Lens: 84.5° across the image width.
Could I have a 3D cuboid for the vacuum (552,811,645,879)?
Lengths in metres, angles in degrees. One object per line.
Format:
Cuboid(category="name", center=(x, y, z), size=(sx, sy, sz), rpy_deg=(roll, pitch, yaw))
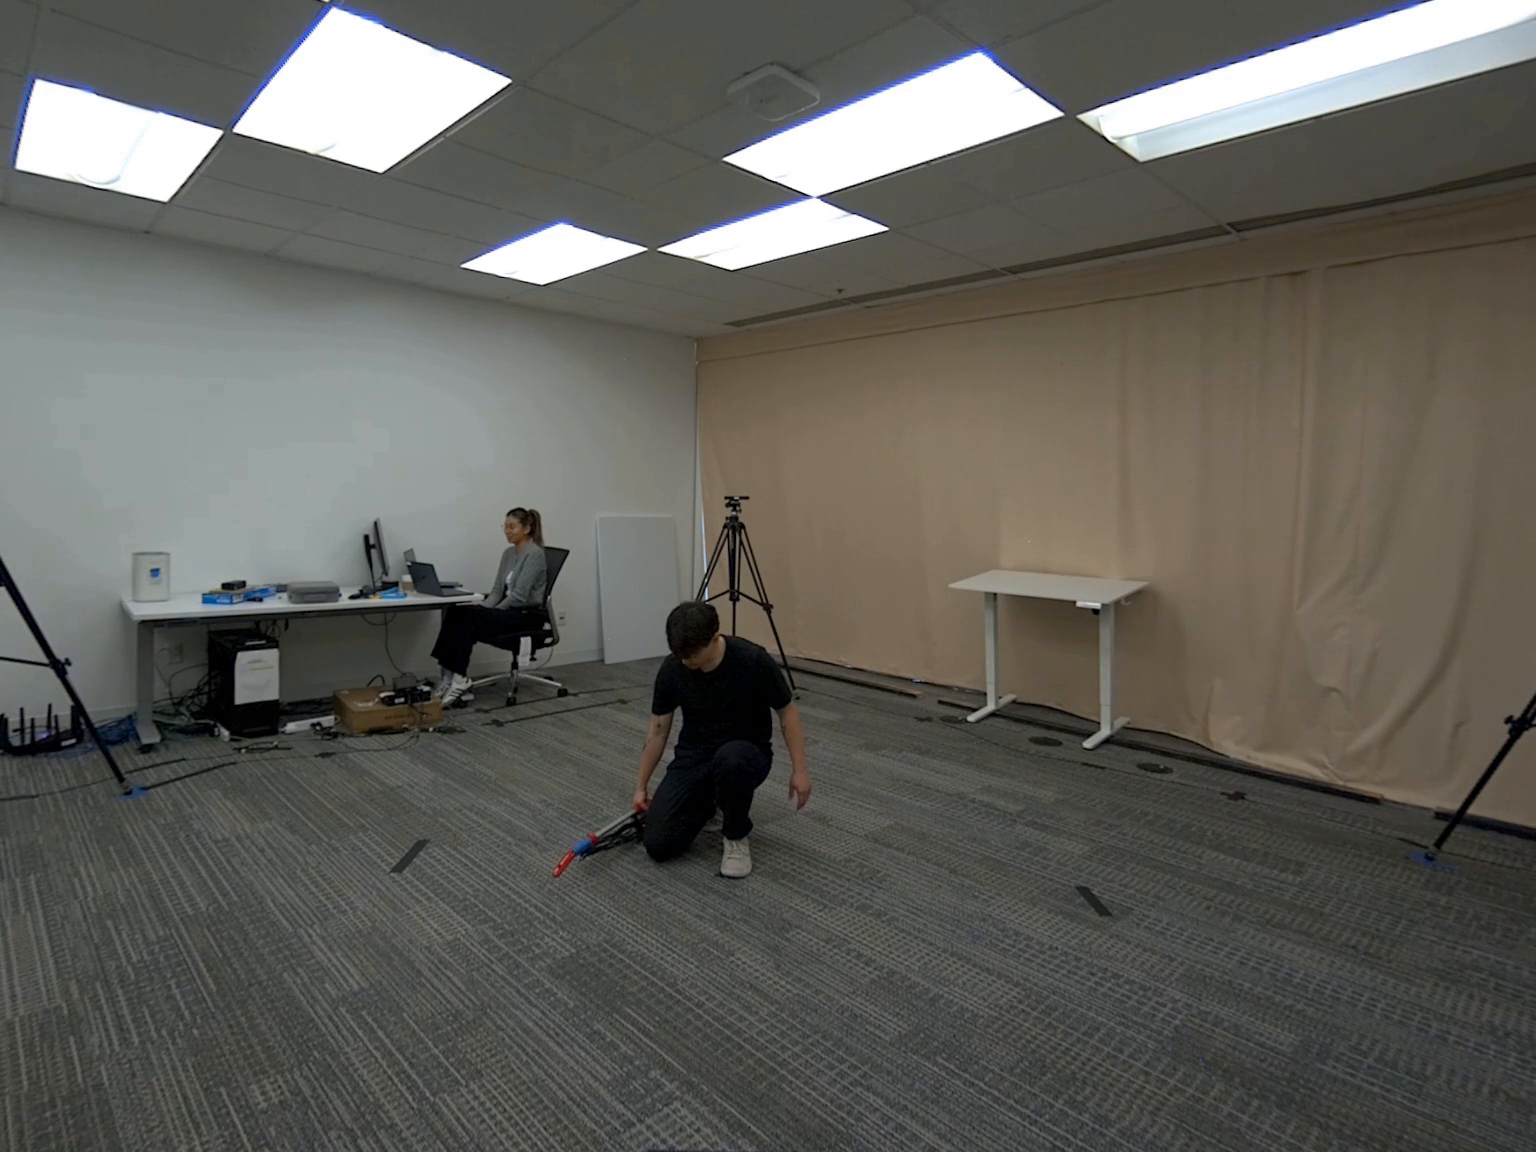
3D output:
Cuboid(category="vacuum", center=(-0.561, 0.999, 3.409), size=(0.257, 0.143, 1.035), rpy_deg=(18, 11, 19))
